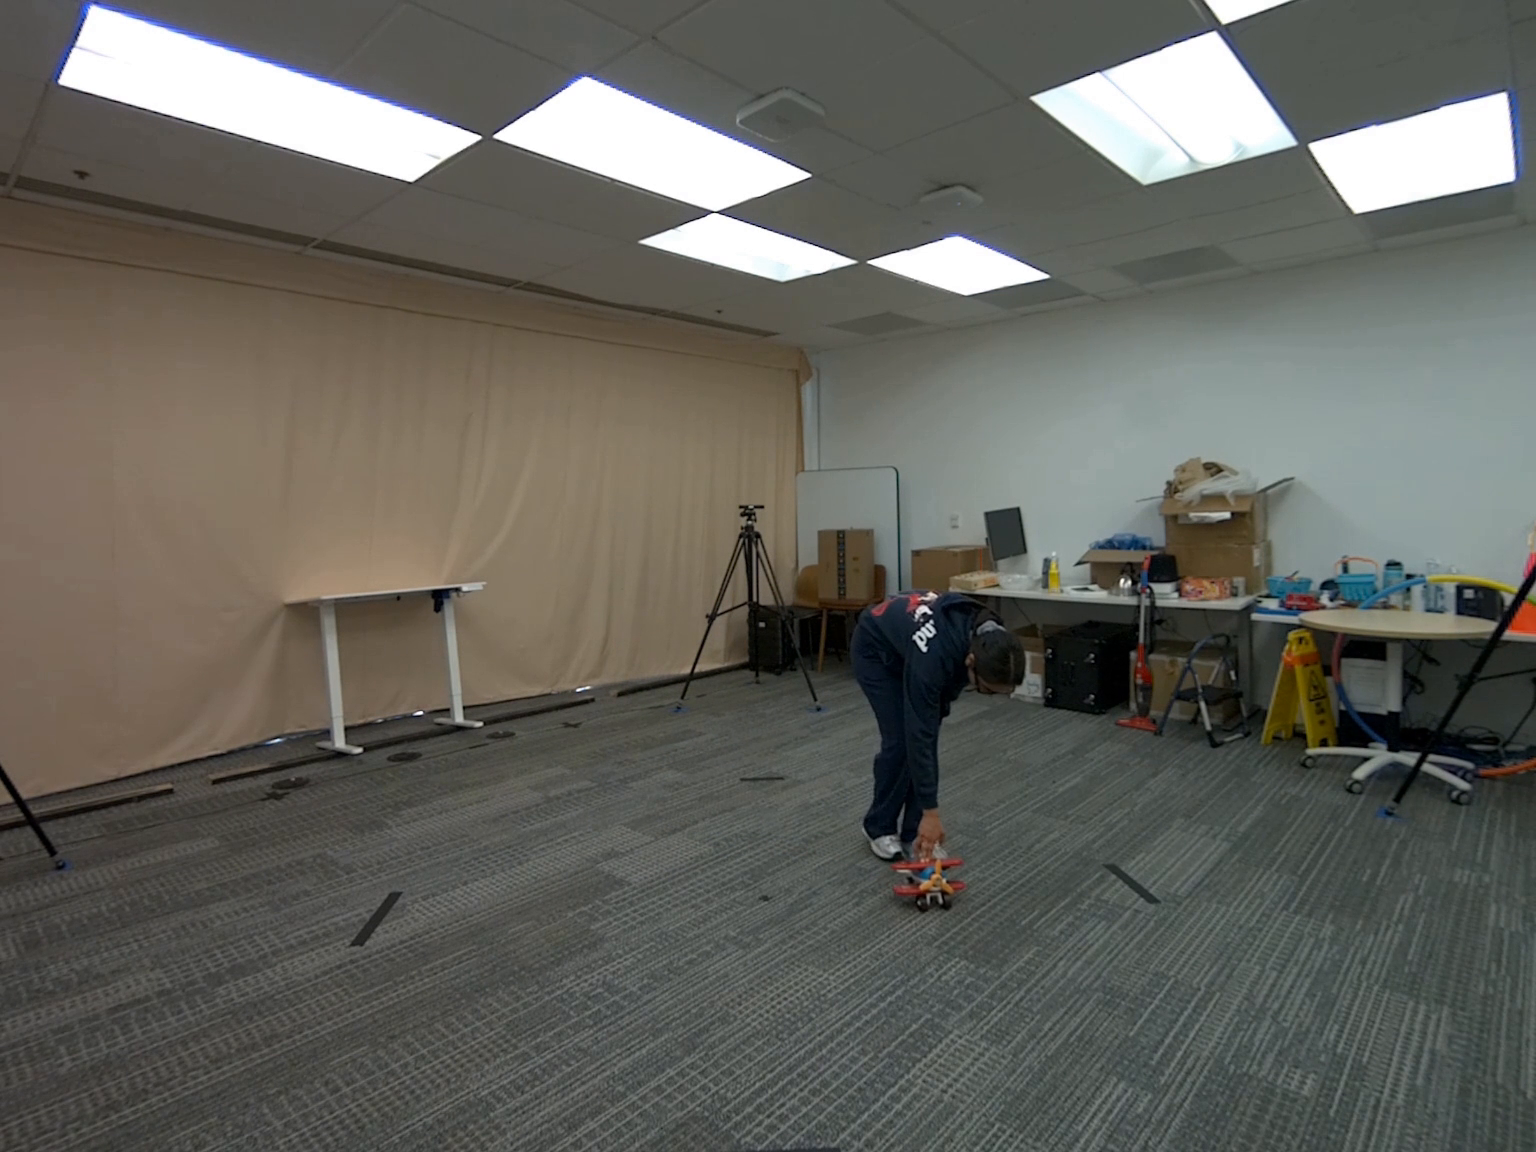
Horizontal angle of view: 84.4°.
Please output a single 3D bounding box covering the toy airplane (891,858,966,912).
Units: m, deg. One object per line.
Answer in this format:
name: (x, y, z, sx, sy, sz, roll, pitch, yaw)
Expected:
toy airplane: (0.532, 1.056, 2.958, 0.244, 0.156, 0.267, -4, 6, -36)
